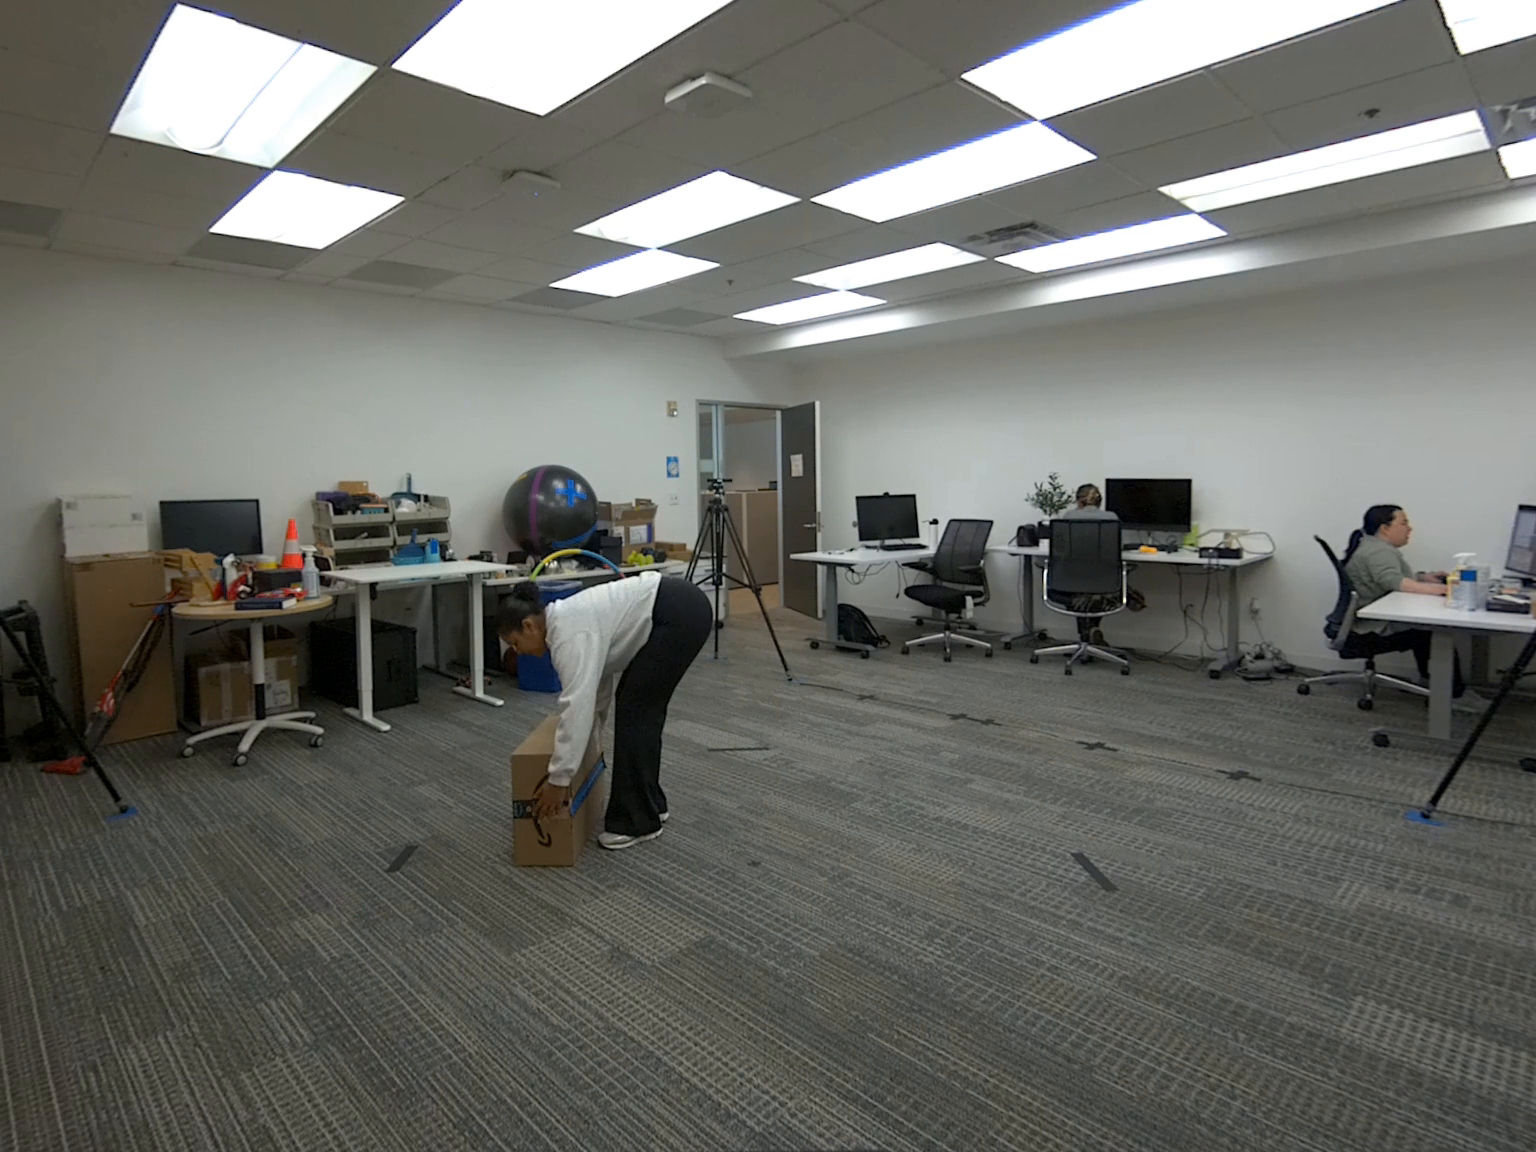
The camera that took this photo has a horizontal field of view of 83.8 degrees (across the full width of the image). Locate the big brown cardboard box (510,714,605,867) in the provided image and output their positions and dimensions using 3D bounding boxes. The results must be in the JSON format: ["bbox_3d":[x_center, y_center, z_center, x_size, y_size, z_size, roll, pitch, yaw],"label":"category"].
[{"bbox_3d":[-0.818,0.810,3.388,0.234,0.415,0.589,-1,6,4],"label":"big brown cardboard box"}]
